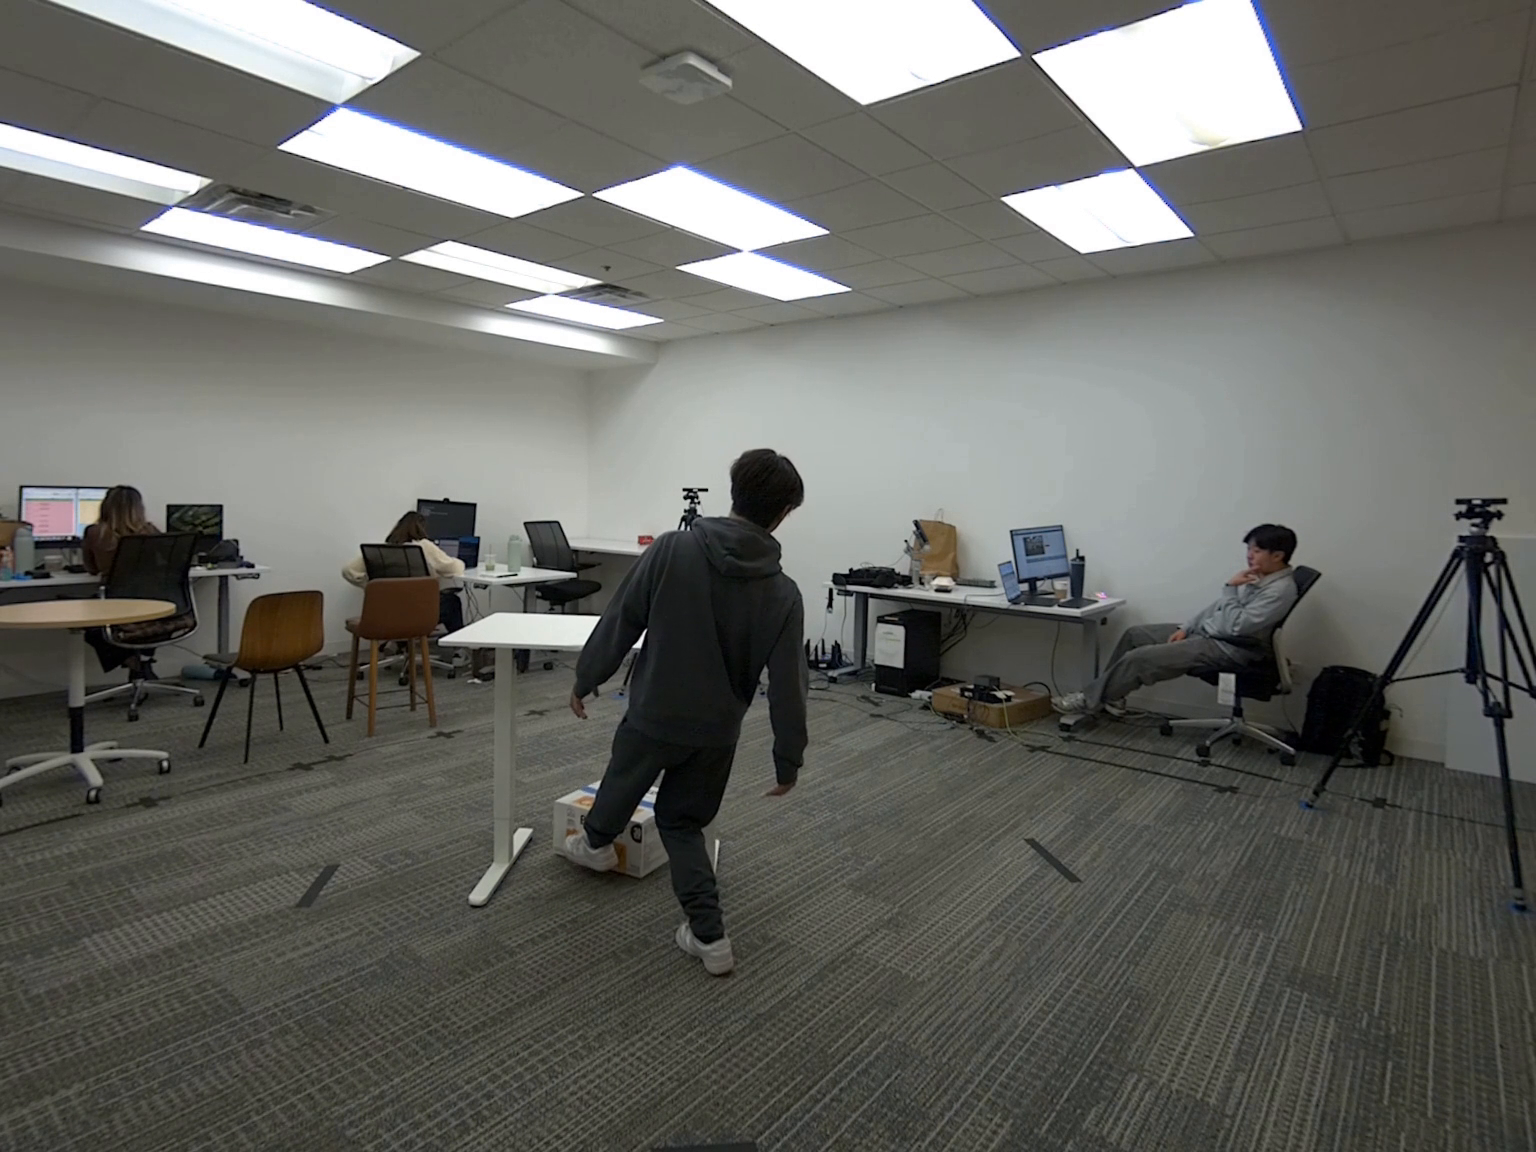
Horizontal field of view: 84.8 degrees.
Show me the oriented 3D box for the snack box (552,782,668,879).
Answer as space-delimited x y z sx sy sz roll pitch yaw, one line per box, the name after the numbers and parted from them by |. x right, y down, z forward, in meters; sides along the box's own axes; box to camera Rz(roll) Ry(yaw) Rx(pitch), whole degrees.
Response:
-0.560 0.946 3.249 0.417 0.205 0.332 4 5 28 | snack box
